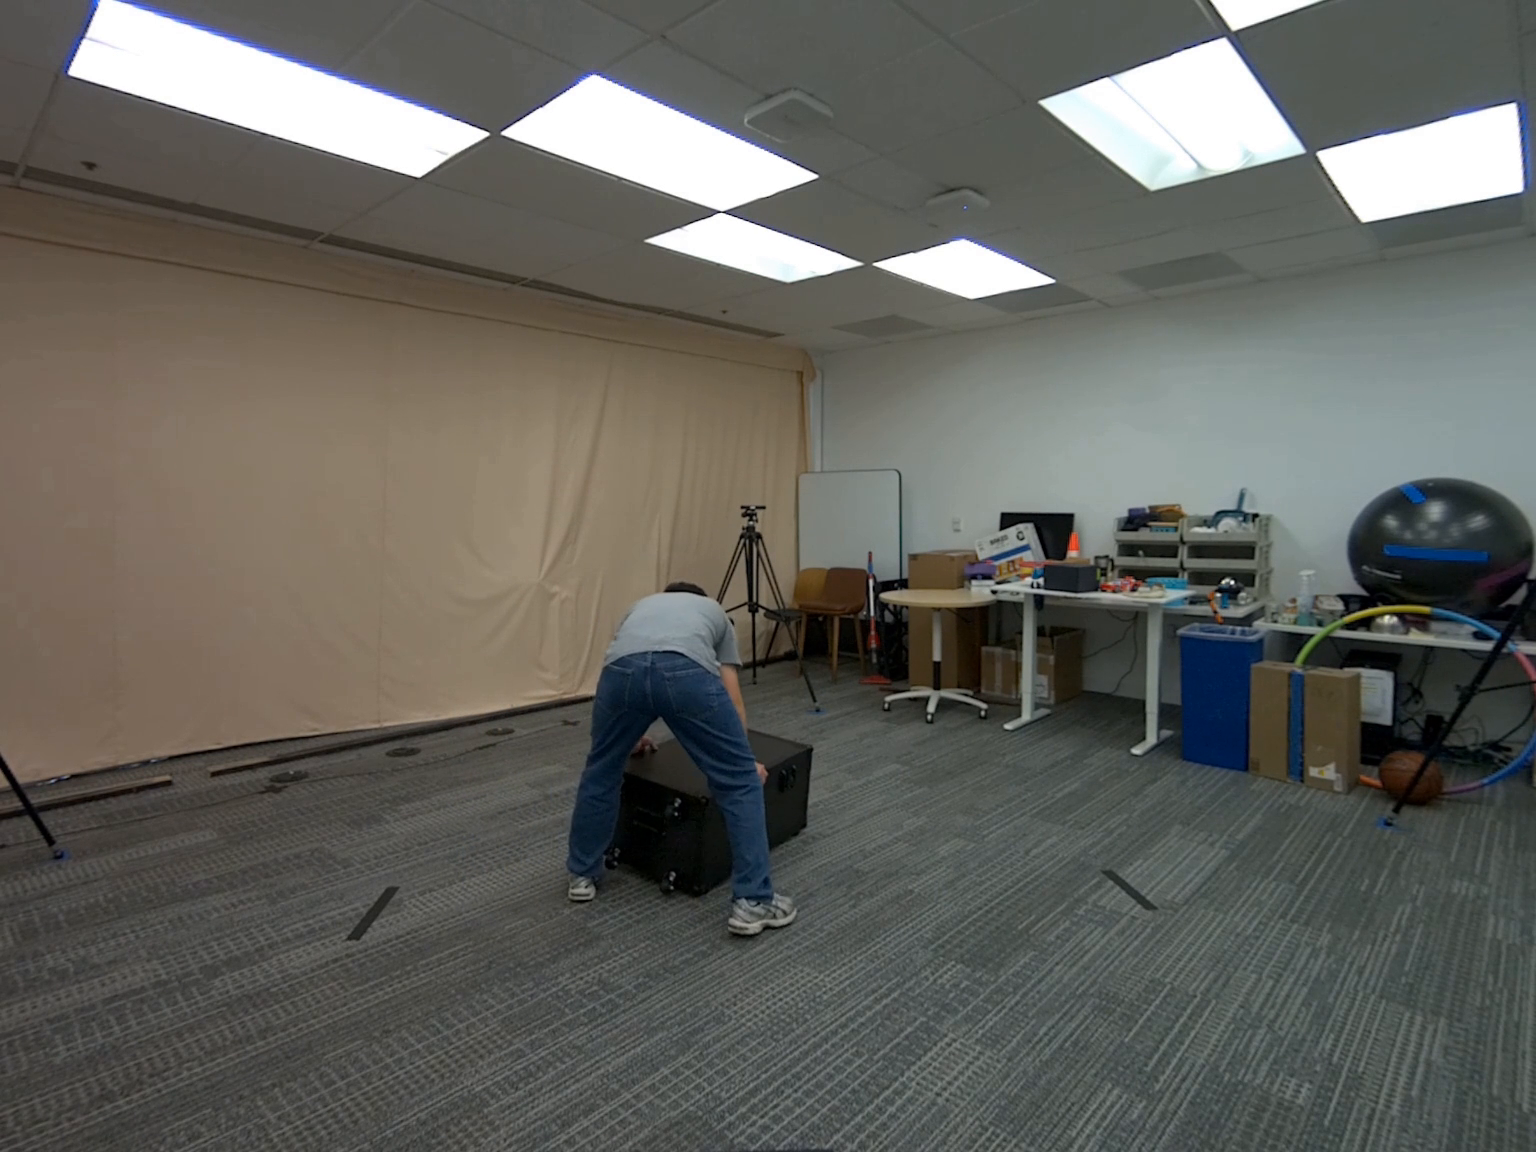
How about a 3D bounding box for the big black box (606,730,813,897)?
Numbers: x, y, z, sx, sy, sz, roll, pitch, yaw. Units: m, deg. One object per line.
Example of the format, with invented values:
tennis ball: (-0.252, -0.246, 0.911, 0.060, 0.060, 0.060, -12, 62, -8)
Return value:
big black box: (-0.242, 0.905, 3.372, 0.538, 0.395, 0.838, 8, 9, 32)
